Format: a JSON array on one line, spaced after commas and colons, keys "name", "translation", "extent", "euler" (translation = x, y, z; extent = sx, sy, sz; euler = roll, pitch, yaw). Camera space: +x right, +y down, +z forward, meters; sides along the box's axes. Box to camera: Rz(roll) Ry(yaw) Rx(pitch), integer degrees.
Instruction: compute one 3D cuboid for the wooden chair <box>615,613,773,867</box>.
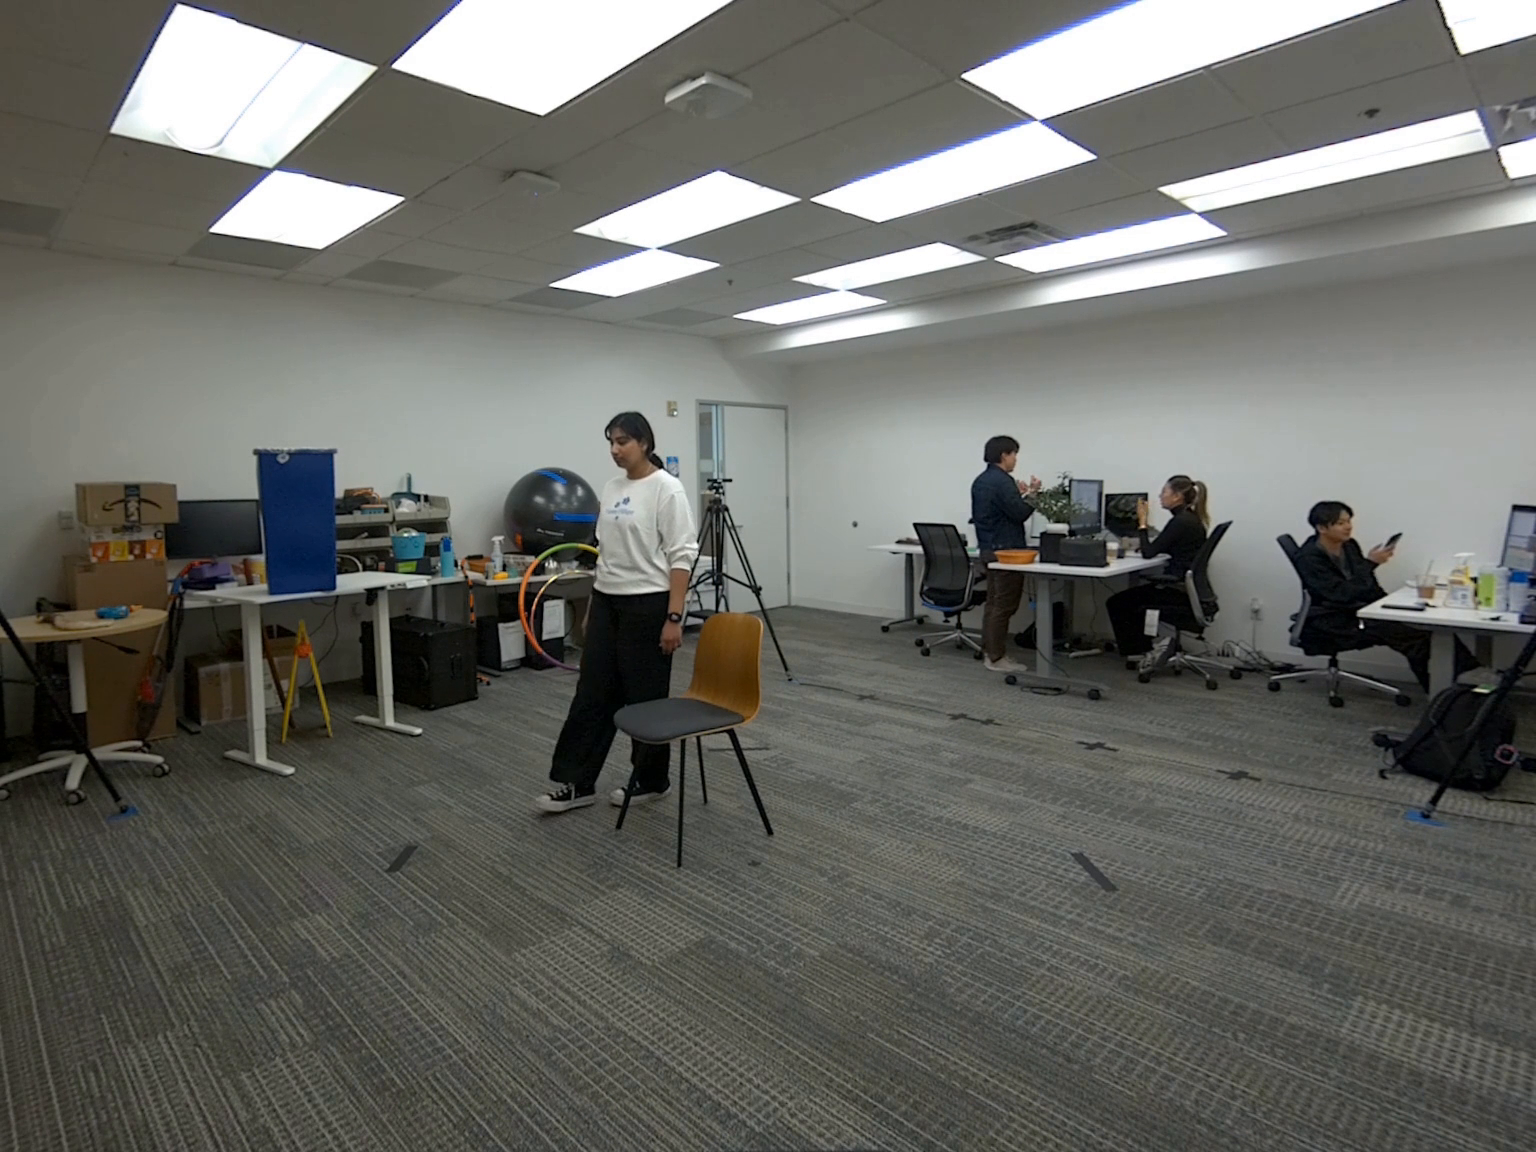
[{"name": "wooden chair", "translation": [-0.304, 0.592, 3.354], "extent": [0.508, 0.877, 0.492], "euler": [2, 1, -40]}]
